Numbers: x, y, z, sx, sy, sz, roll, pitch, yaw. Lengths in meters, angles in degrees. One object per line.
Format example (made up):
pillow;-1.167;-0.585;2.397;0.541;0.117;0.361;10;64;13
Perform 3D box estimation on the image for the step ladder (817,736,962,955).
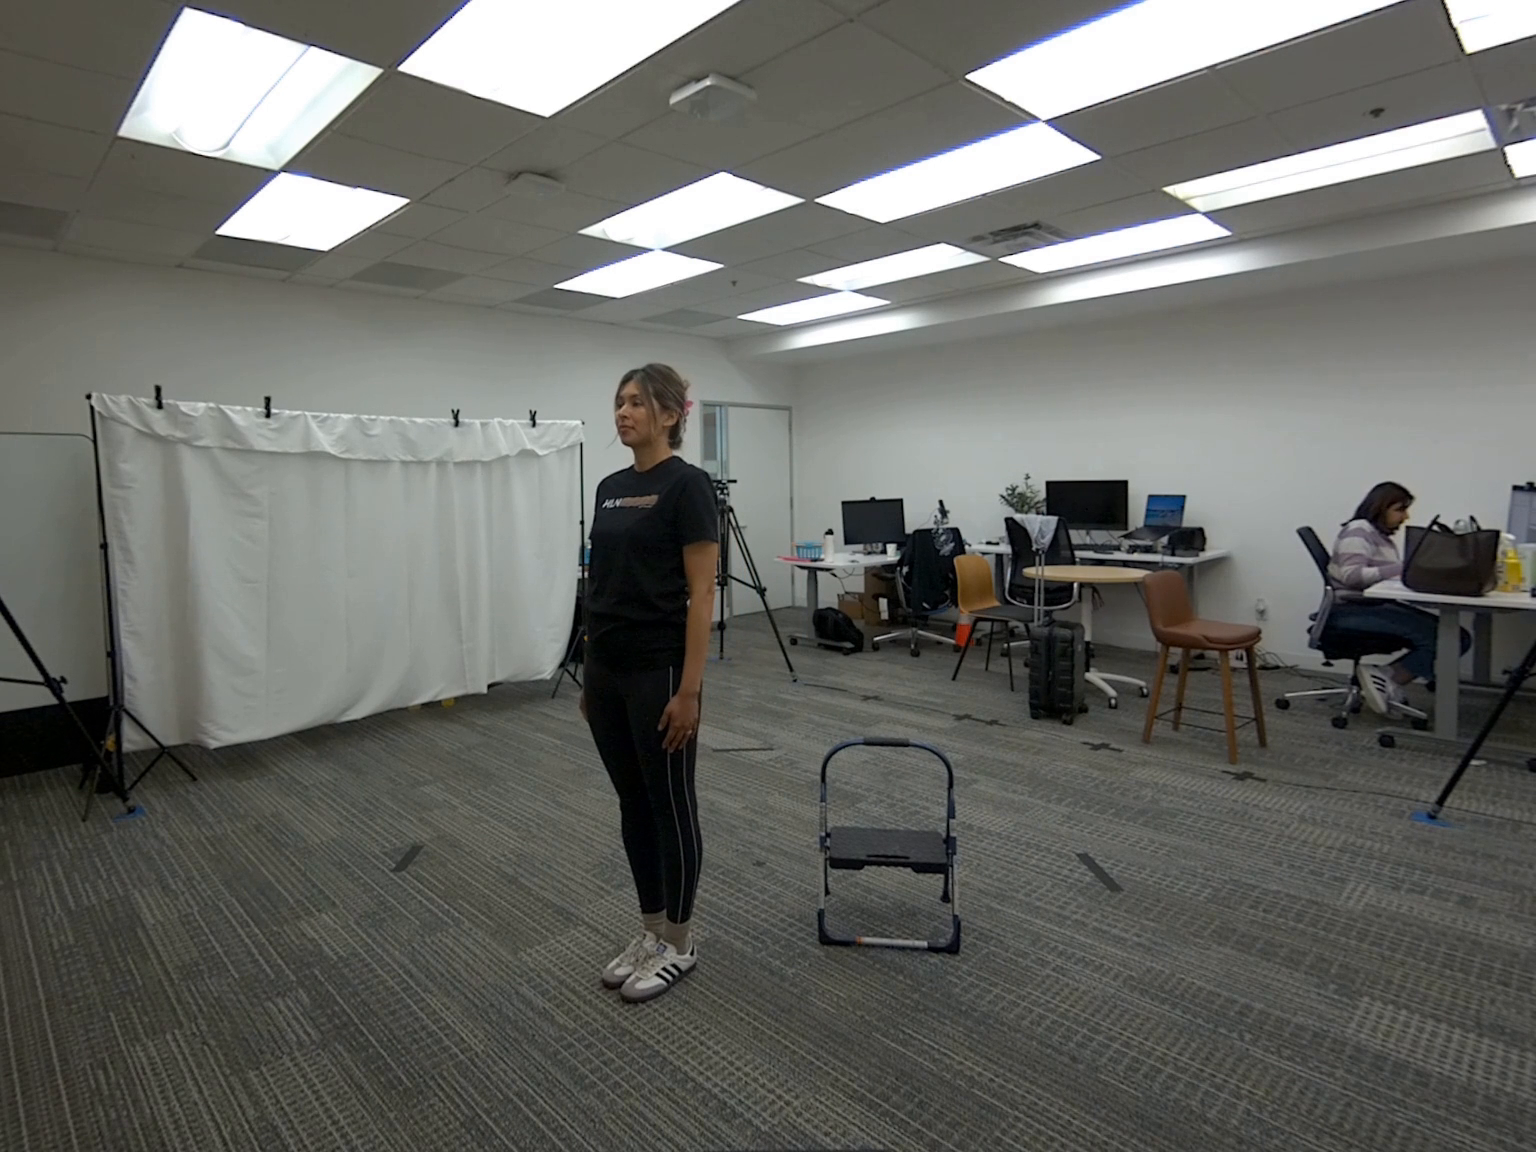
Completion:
step ladder;0.374;0.788;2.677;0.434;0.604;0.348;0;3;7
